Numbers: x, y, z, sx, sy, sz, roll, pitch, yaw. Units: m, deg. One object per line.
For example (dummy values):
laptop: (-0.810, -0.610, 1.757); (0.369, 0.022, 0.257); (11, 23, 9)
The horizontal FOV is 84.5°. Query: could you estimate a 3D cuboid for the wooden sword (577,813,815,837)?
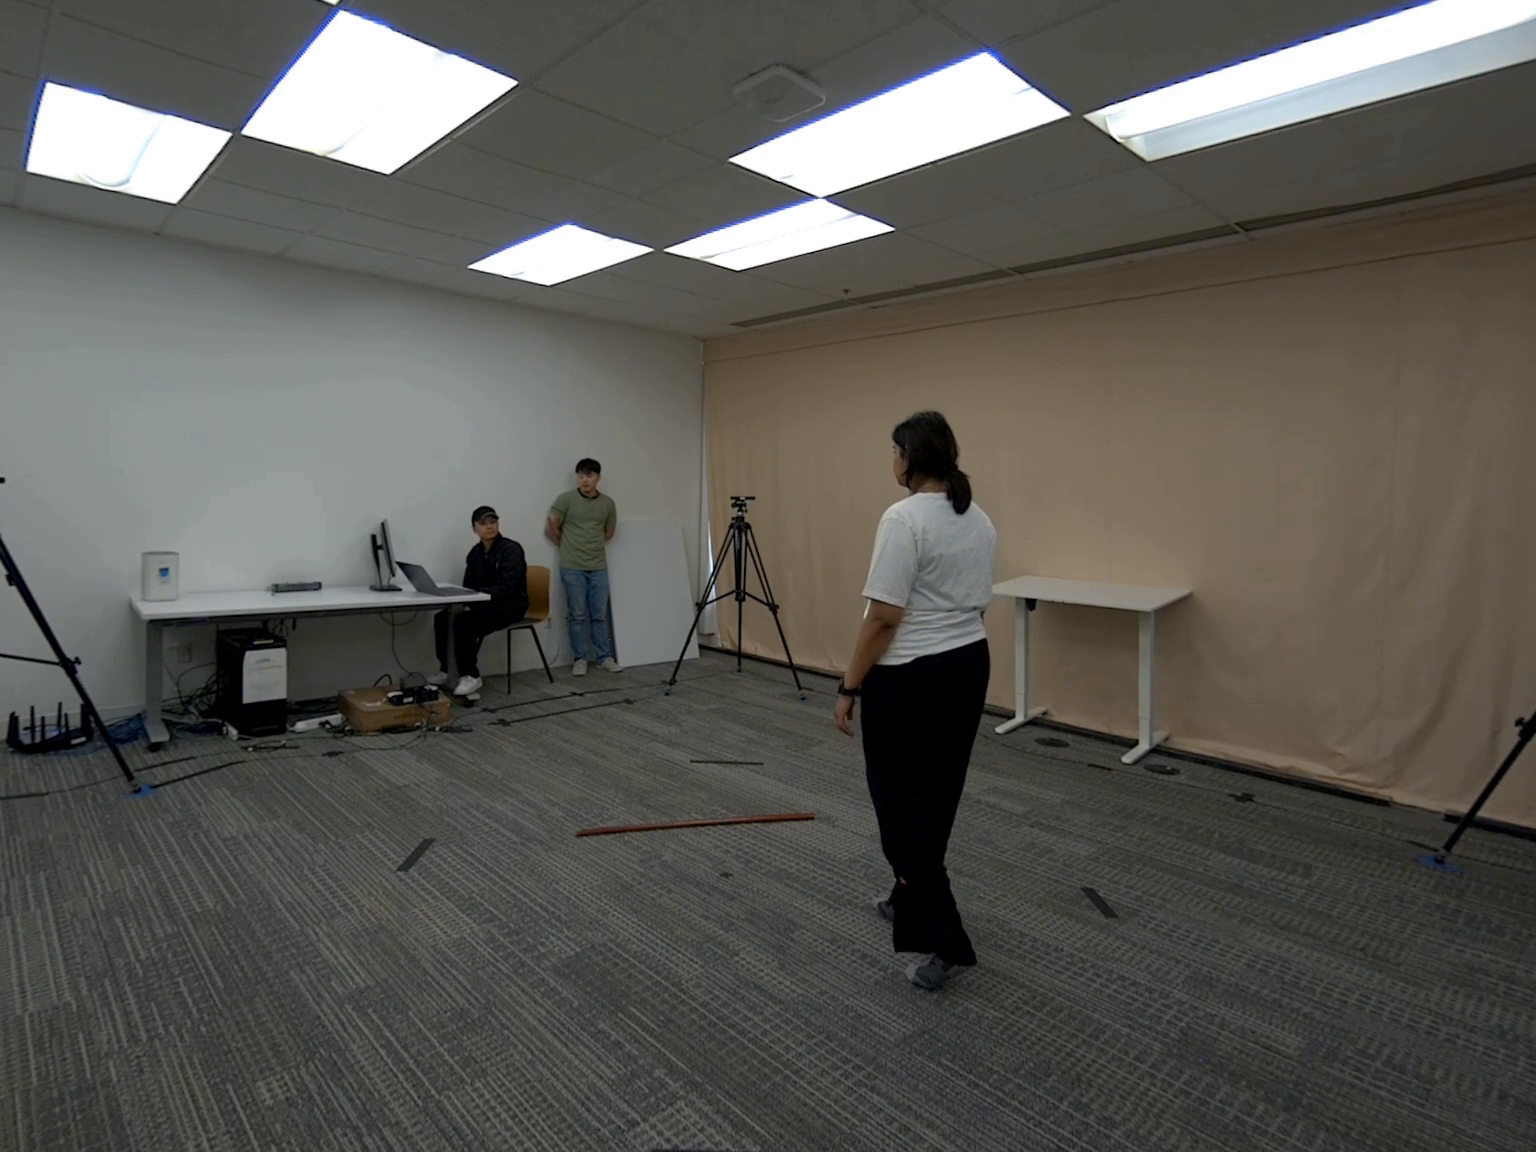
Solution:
wooden sword: (-0.298, 1.042, 3.555); (1.013, 0.024, 0.052); (0, 9, -14)
